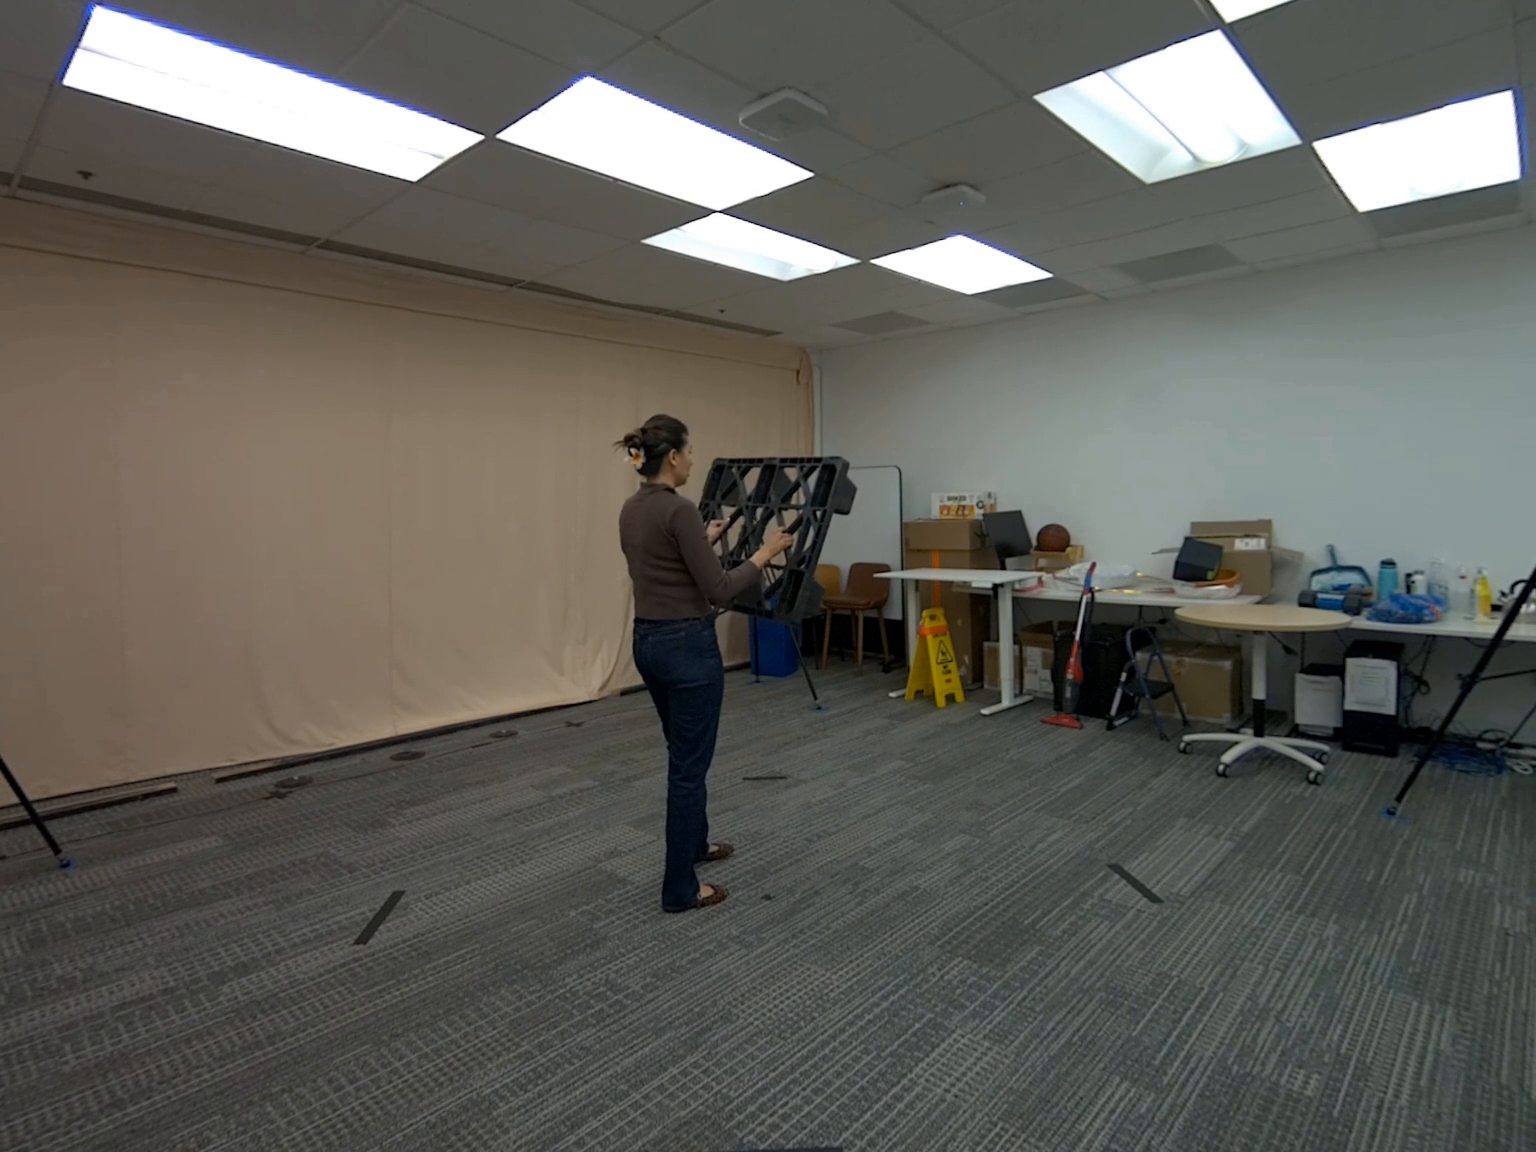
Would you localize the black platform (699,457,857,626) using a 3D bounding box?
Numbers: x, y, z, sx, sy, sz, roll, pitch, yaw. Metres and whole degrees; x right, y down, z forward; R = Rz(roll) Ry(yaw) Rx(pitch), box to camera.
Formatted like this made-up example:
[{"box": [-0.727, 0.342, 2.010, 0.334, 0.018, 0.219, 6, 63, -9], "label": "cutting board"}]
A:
[{"box": [-0.025, -0.149, 3.175, 0.138, 0.606, 0.832, 23, -8, -36], "label": "black platform"}]
